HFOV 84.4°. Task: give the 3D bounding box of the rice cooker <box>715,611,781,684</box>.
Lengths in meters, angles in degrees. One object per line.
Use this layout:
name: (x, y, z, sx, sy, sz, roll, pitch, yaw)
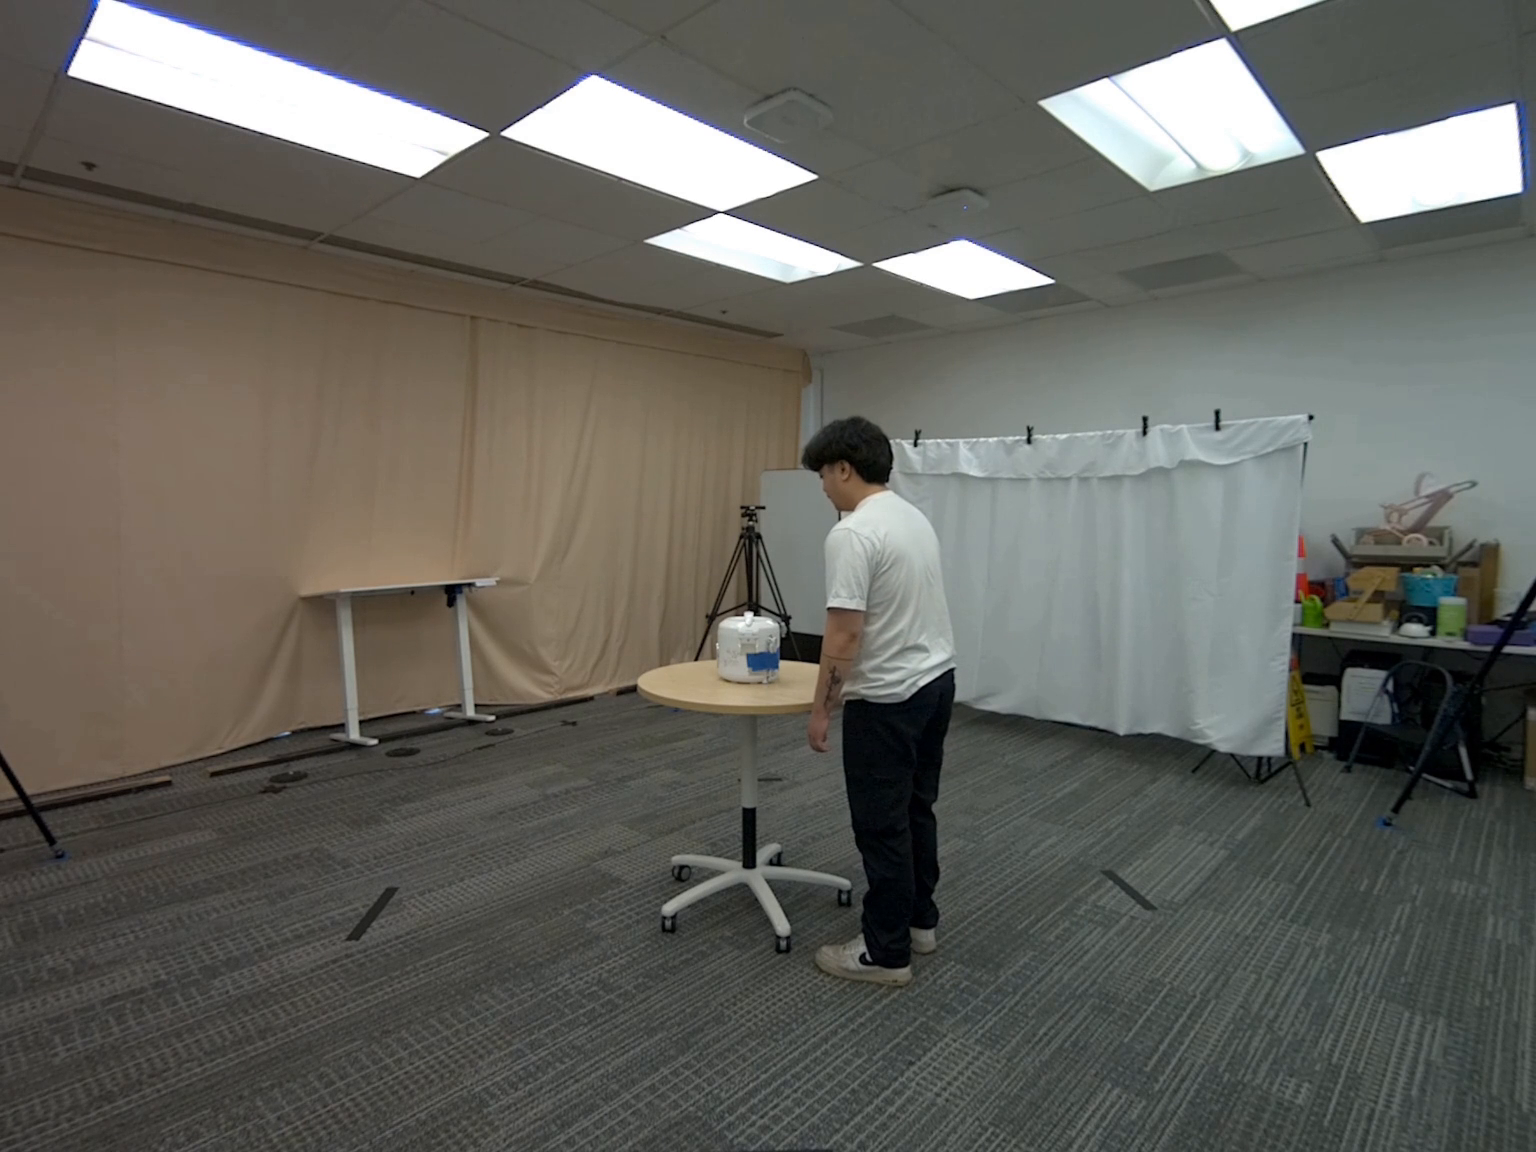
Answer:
rice cooker: (-0.067, 0.236, 2.889, 0.218, 0.232, 0.220, 0, 3, 1)
